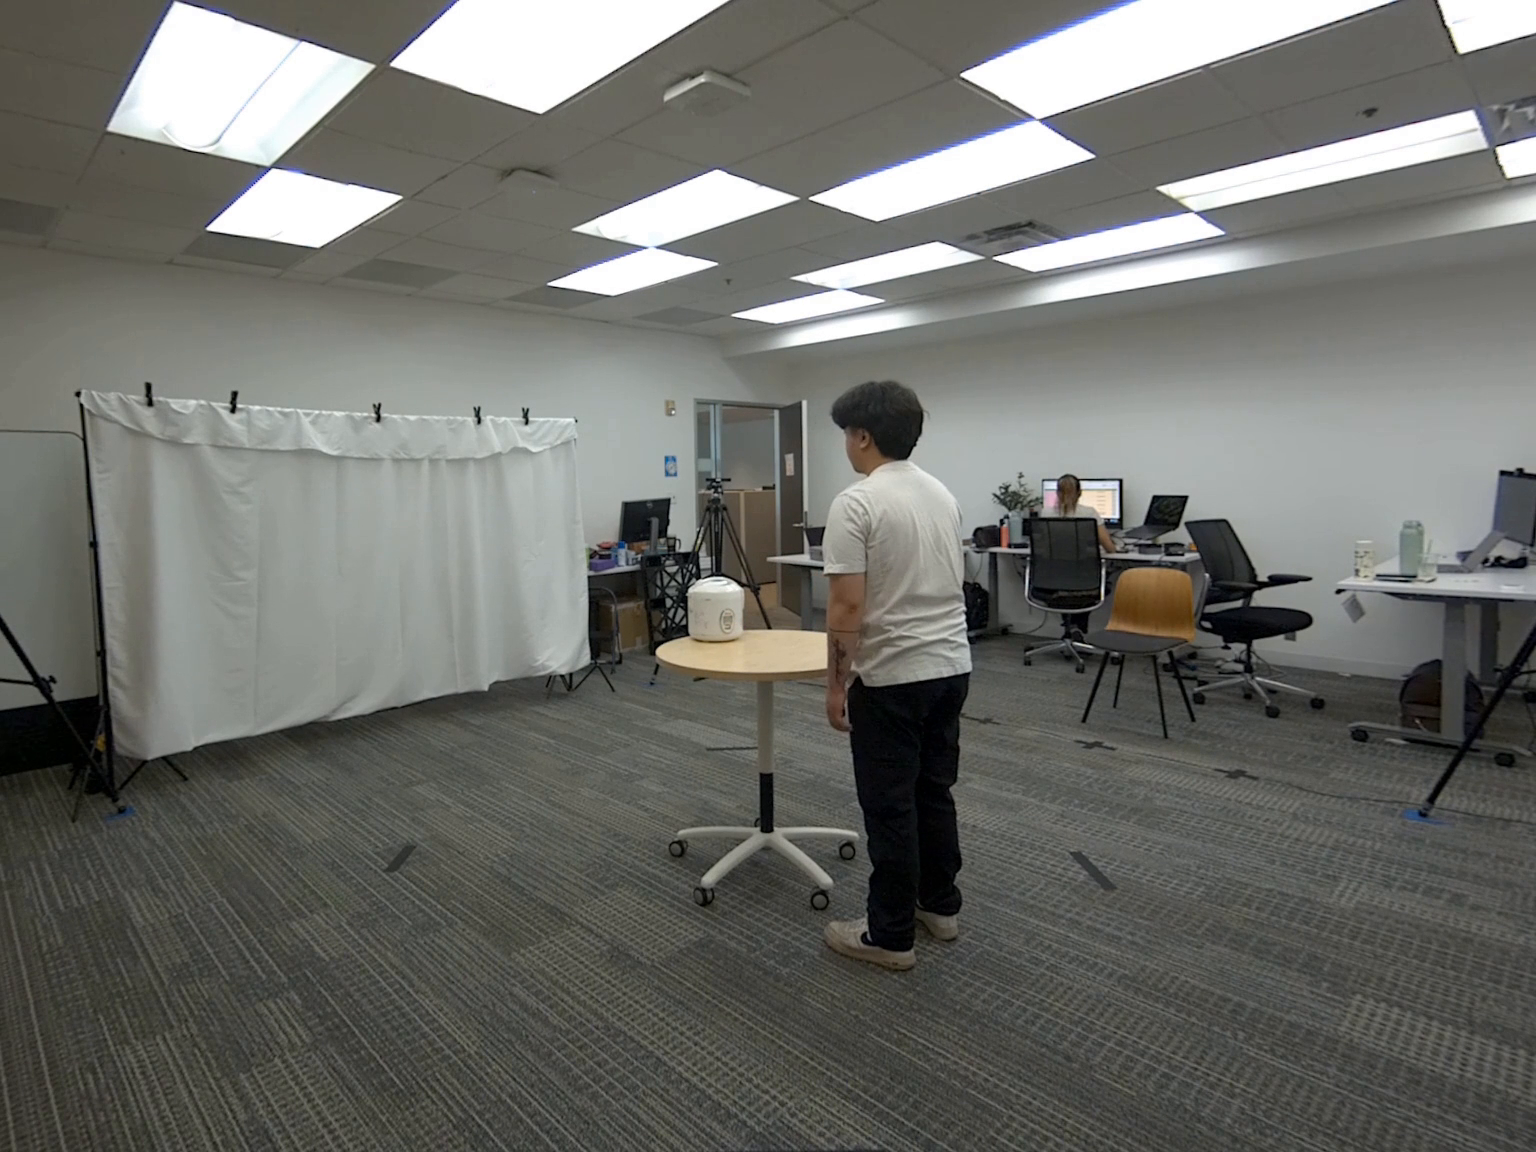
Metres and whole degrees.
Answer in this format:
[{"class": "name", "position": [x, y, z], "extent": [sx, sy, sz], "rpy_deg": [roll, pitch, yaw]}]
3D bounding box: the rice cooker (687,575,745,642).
[{"class": "rice cooker", "position": [-0.192, 0.121, 3.215], "extent": [0.216, 0.232, 0.222], "rpy_deg": [-4, 3, -26]}]
